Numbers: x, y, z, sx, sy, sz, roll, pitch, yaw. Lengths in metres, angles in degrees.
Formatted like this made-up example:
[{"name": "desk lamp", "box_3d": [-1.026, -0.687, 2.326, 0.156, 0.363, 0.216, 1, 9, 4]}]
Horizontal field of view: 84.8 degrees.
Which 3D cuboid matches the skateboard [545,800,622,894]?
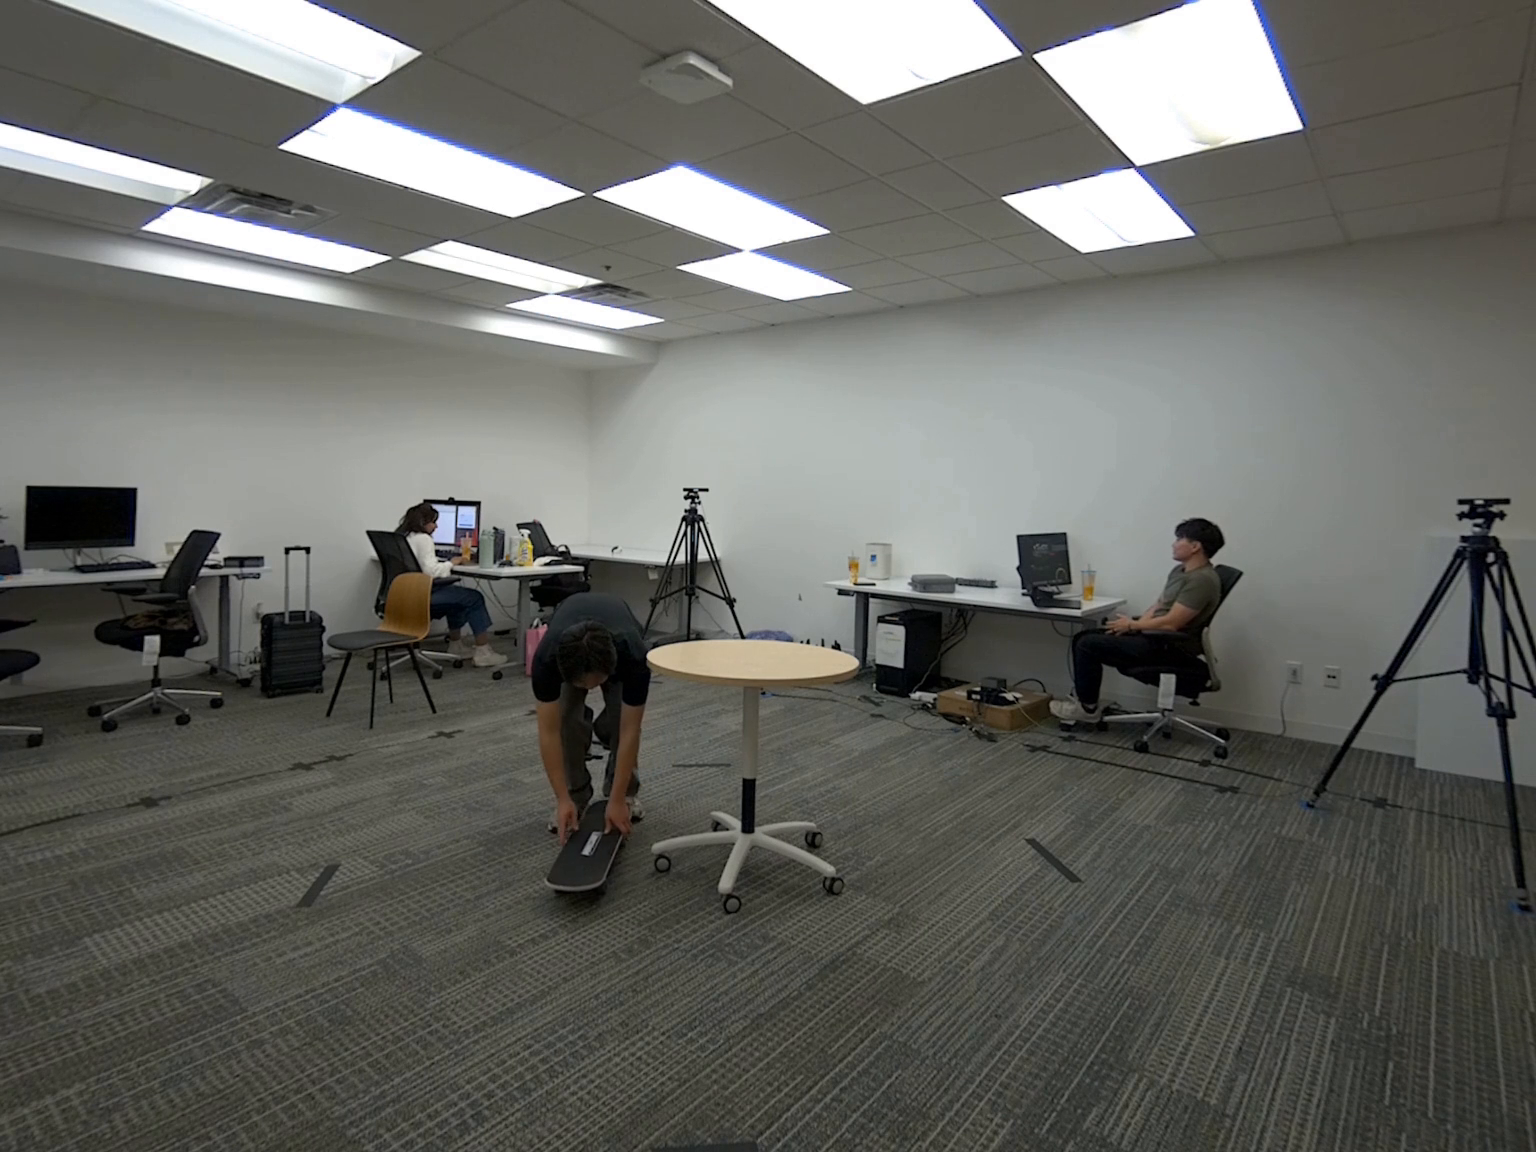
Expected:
[{"name": "skateboard", "box_3d": [-0.653, 1.004, 3.105, 0.194, 0.110, 0.786, 1, 5, 1]}]
